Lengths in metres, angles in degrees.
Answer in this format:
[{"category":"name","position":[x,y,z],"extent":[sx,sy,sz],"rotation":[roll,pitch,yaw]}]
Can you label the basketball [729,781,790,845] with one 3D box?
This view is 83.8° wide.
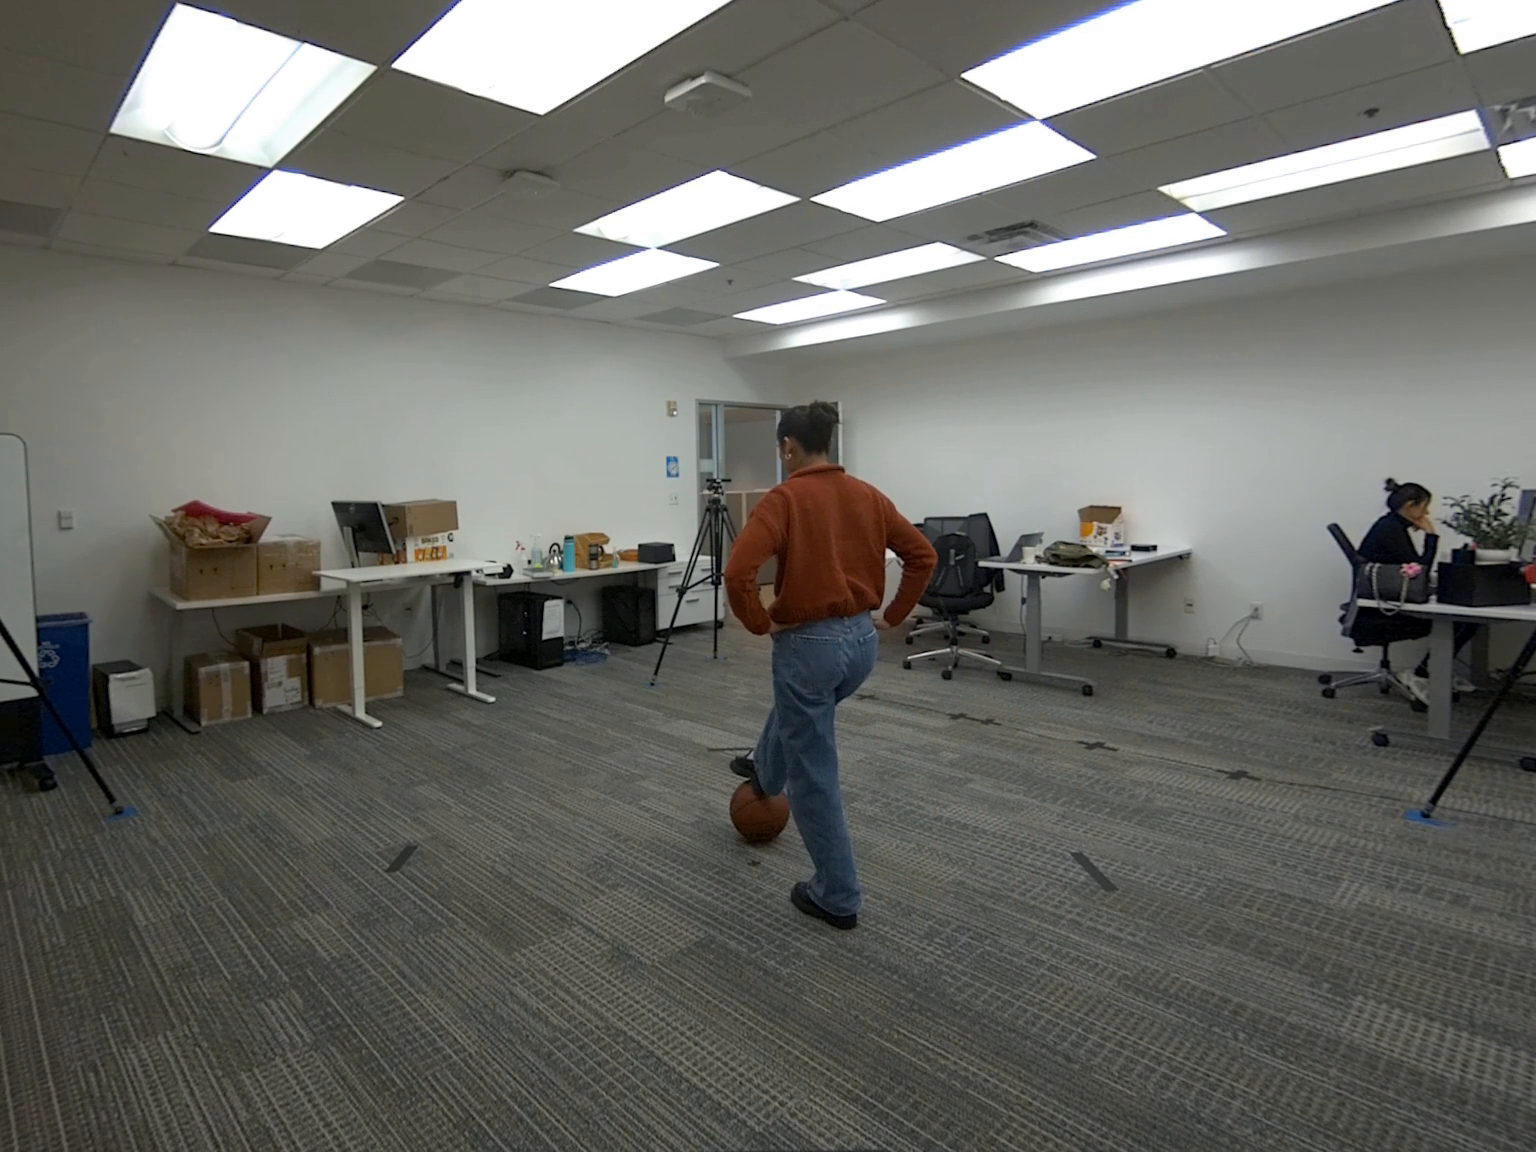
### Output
[{"category":"basketball","position":[-0.029,0.903,3.314],"extent":[0.236,0.235,0.237],"rotation":[-1,5,-2]}]
